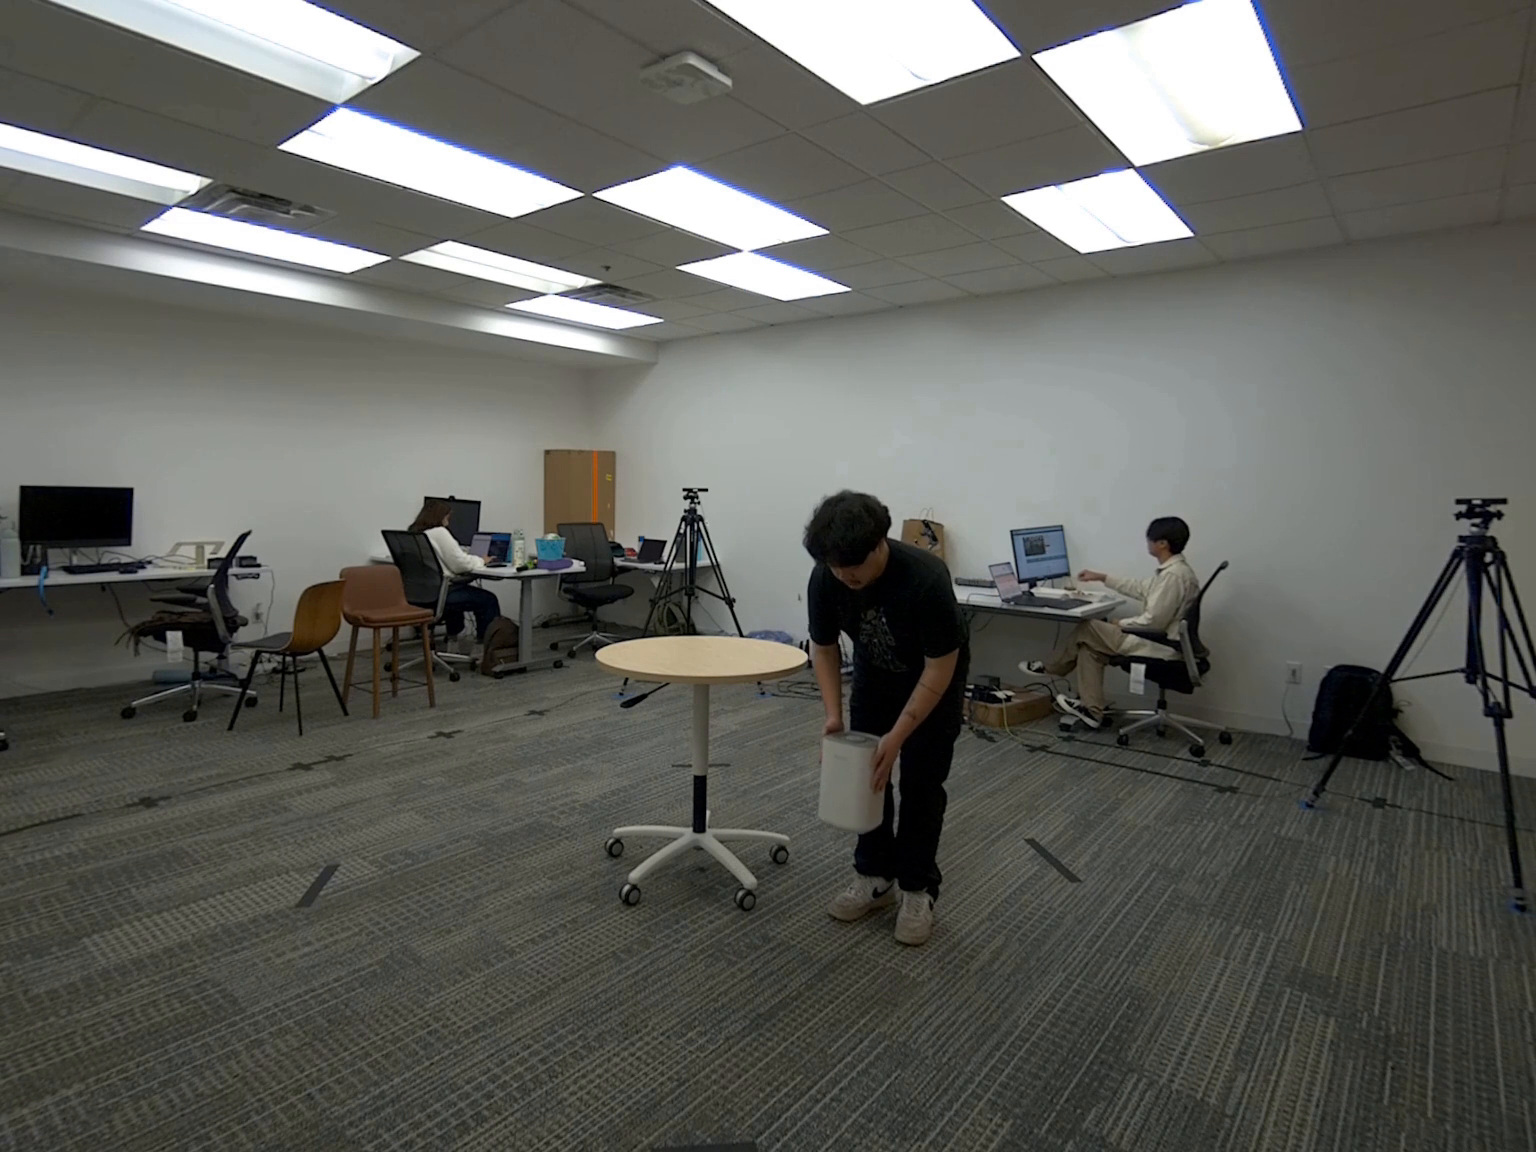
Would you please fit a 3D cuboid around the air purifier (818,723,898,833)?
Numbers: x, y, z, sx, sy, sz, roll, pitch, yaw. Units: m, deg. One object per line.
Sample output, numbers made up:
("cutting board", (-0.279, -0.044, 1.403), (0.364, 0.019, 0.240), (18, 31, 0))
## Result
("air purifier", (0.278, 0.613, 2.581), (0.176, 0.265, 0.166), (4, 0, 35))
